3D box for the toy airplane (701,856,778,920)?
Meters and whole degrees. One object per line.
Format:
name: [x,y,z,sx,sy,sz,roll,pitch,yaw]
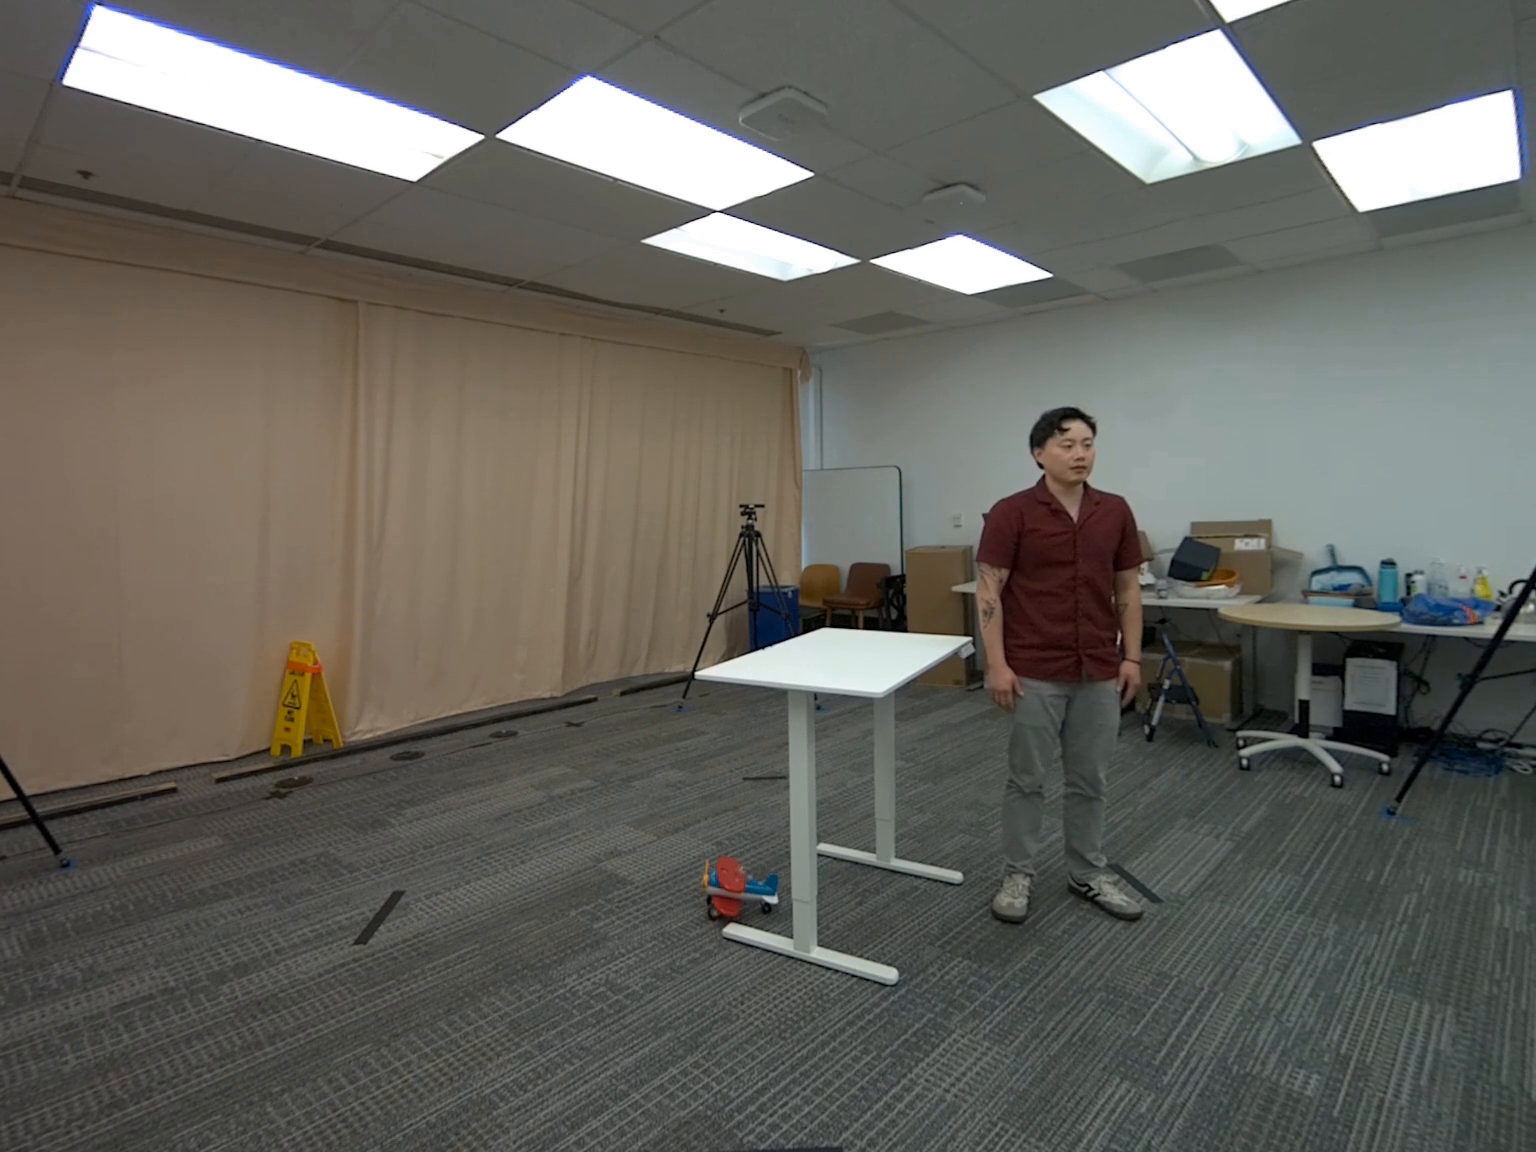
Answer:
toy airplane: [-0.095,1.078,2.890,0.252,0.156,0.258,-5,6,-30]
